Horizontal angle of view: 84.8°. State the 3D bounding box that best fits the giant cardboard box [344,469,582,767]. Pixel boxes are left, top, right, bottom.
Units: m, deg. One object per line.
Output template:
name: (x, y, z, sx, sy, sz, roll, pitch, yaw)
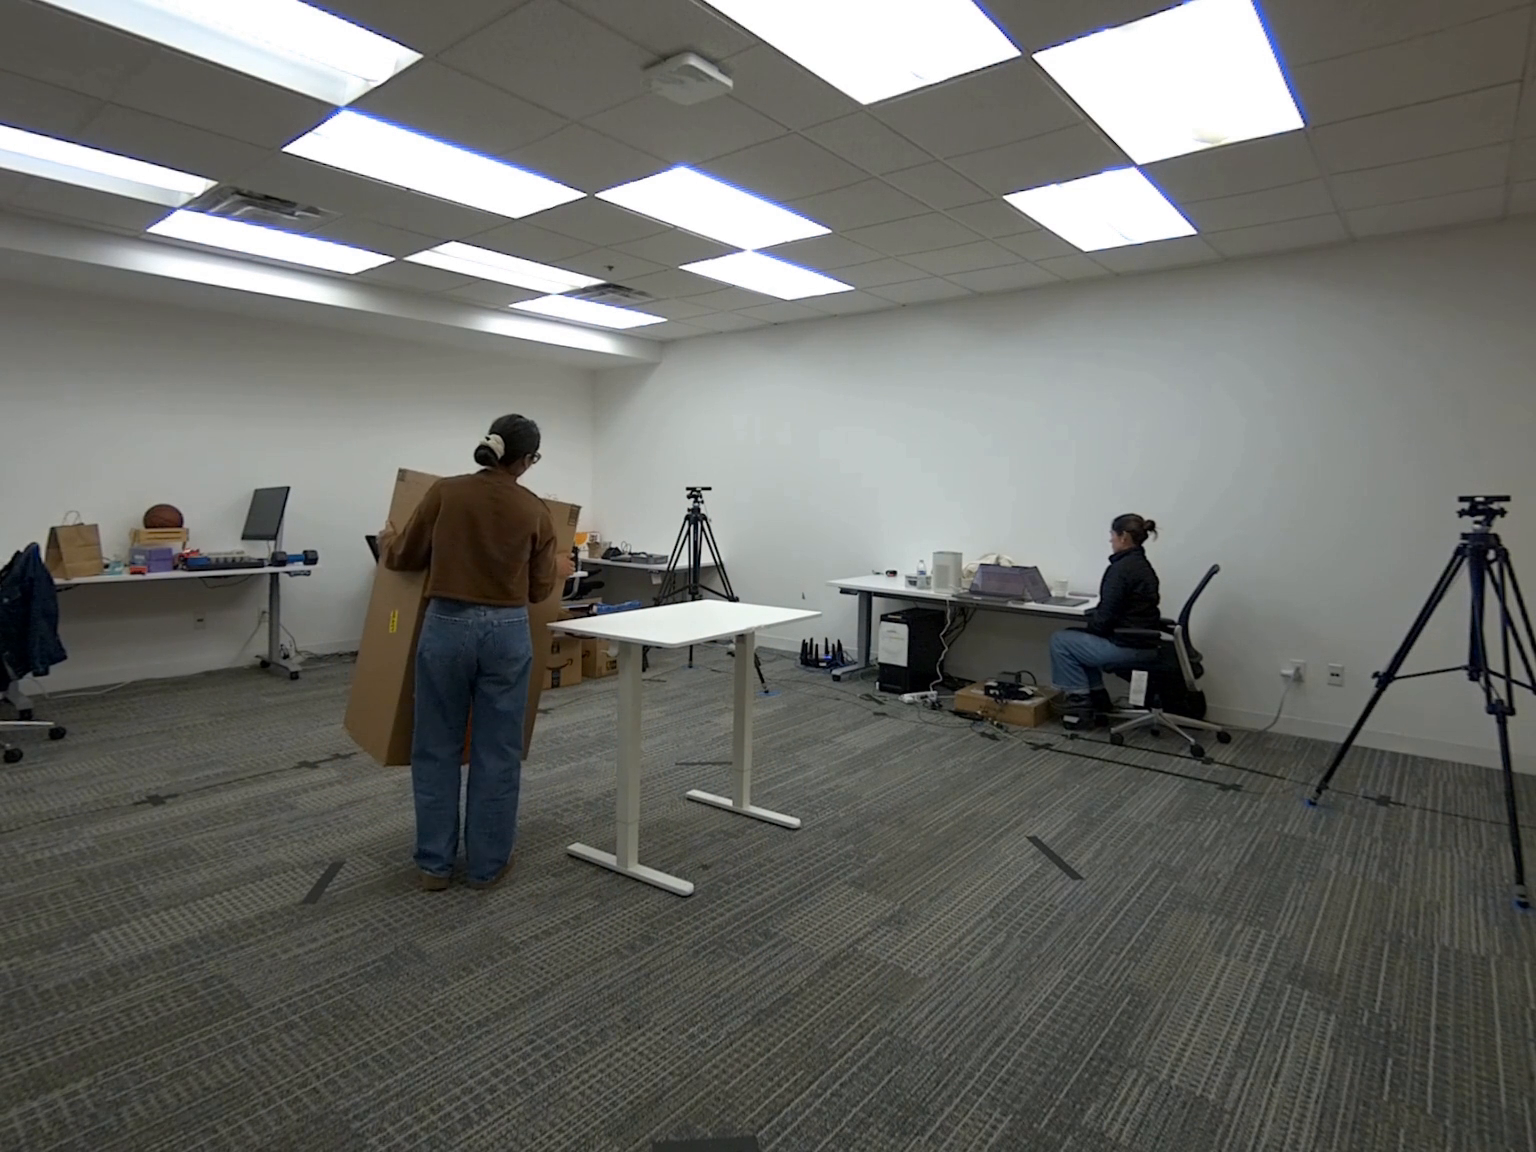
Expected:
giant cardboard box: (-1.183, 0.159, 3.280, 0.556, 1.025, 0.442, 11, 1, -45)
